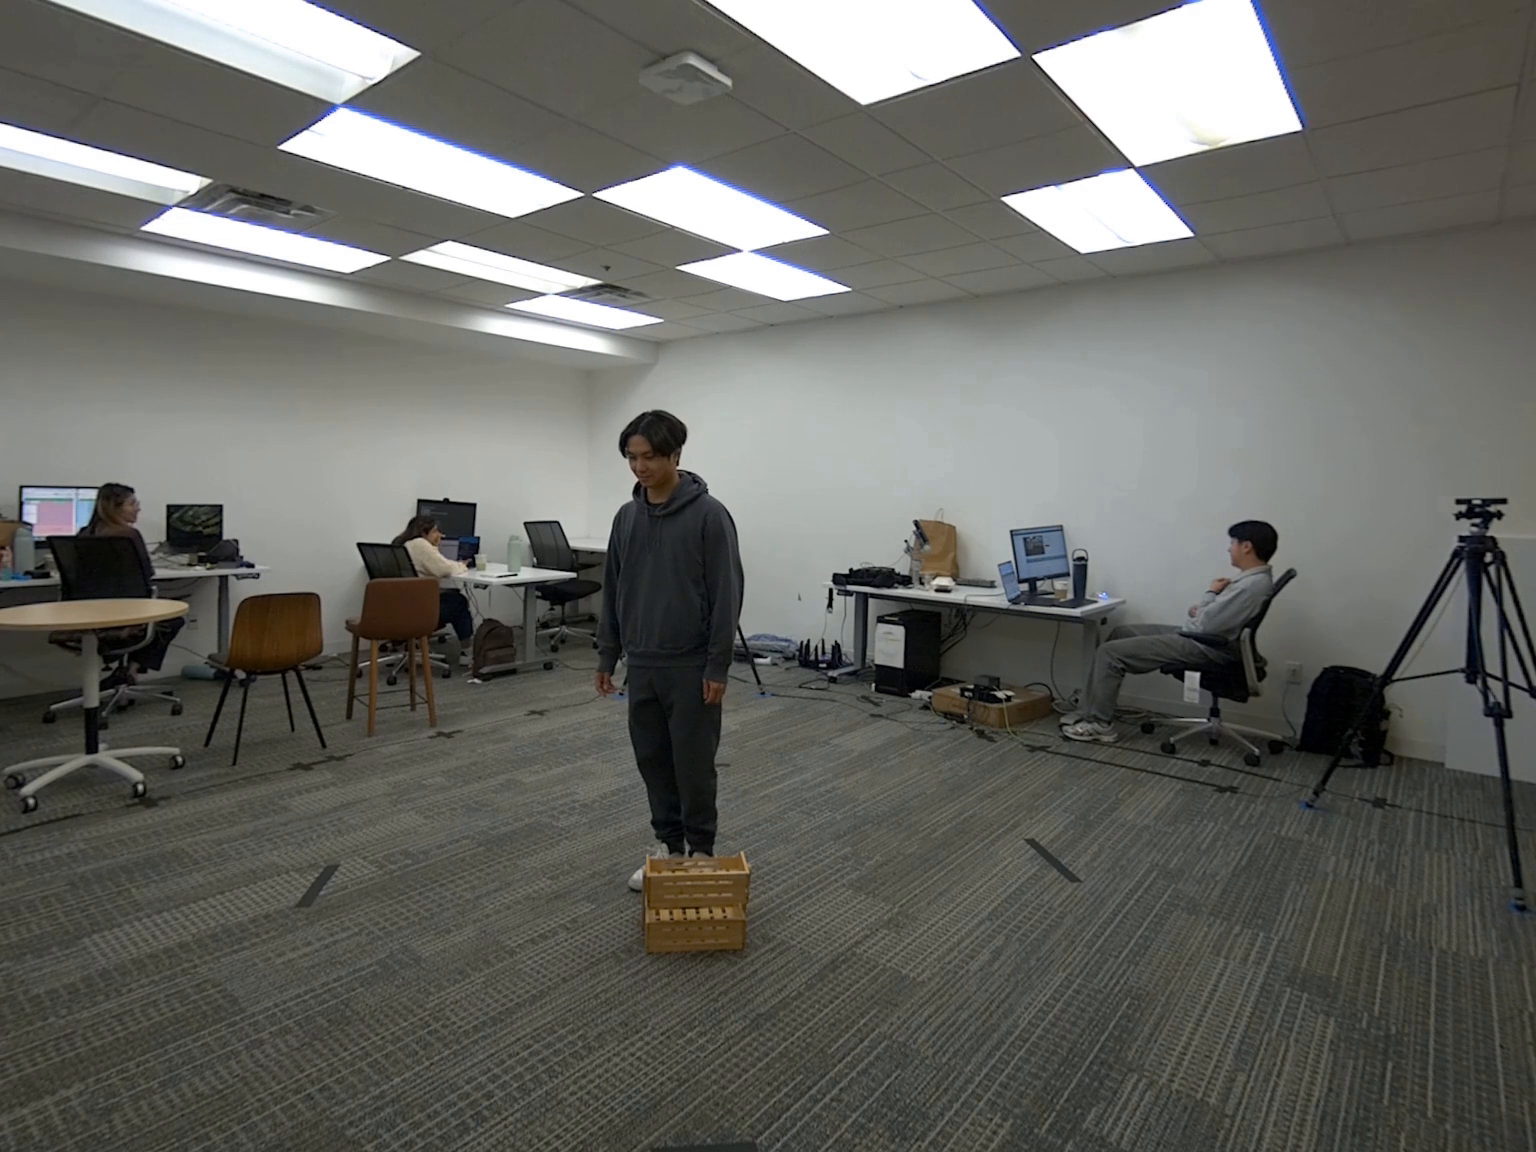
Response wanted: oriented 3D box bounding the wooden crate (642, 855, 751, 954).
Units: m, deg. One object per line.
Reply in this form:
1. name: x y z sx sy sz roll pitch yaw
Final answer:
1. wooden crate: -0.239 0.980 2.650 0.322 0.272 0.306 0 5 -8
